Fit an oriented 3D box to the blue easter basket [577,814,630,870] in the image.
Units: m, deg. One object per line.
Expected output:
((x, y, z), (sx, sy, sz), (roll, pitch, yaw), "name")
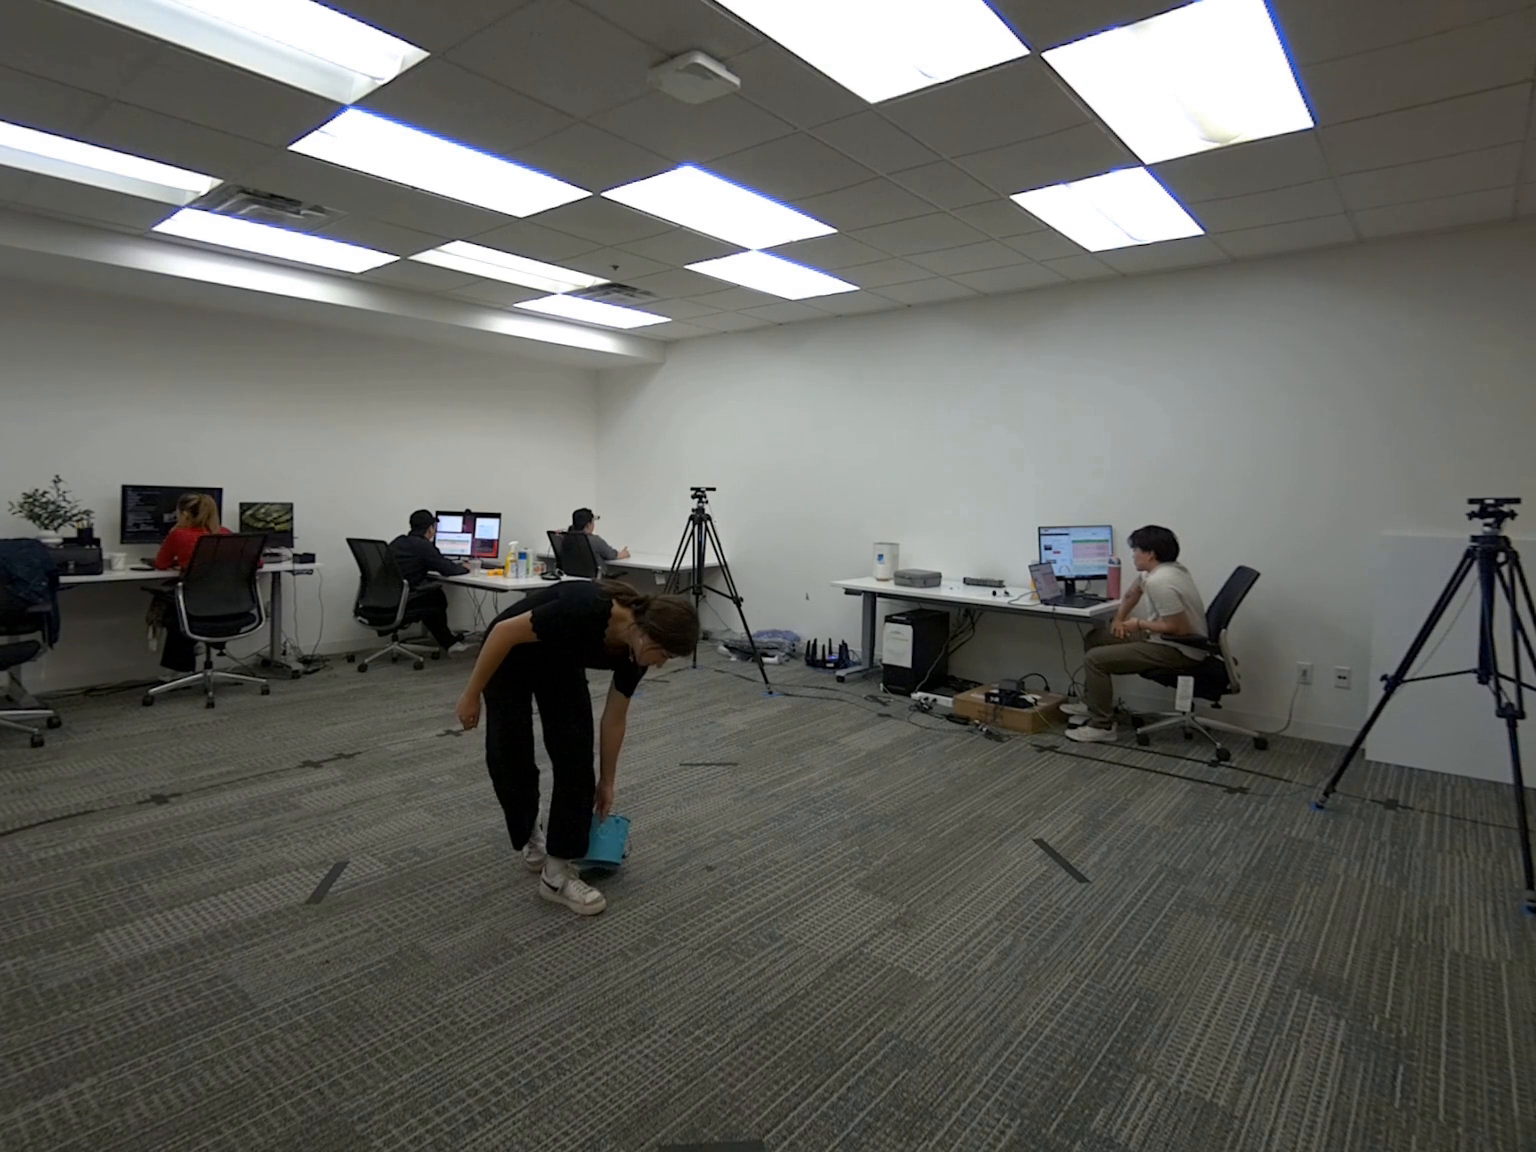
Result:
((-0.619, 0.957, 3.063), (0.243, 0.159, 0.238), (2, -27, -1), "blue easter basket")
